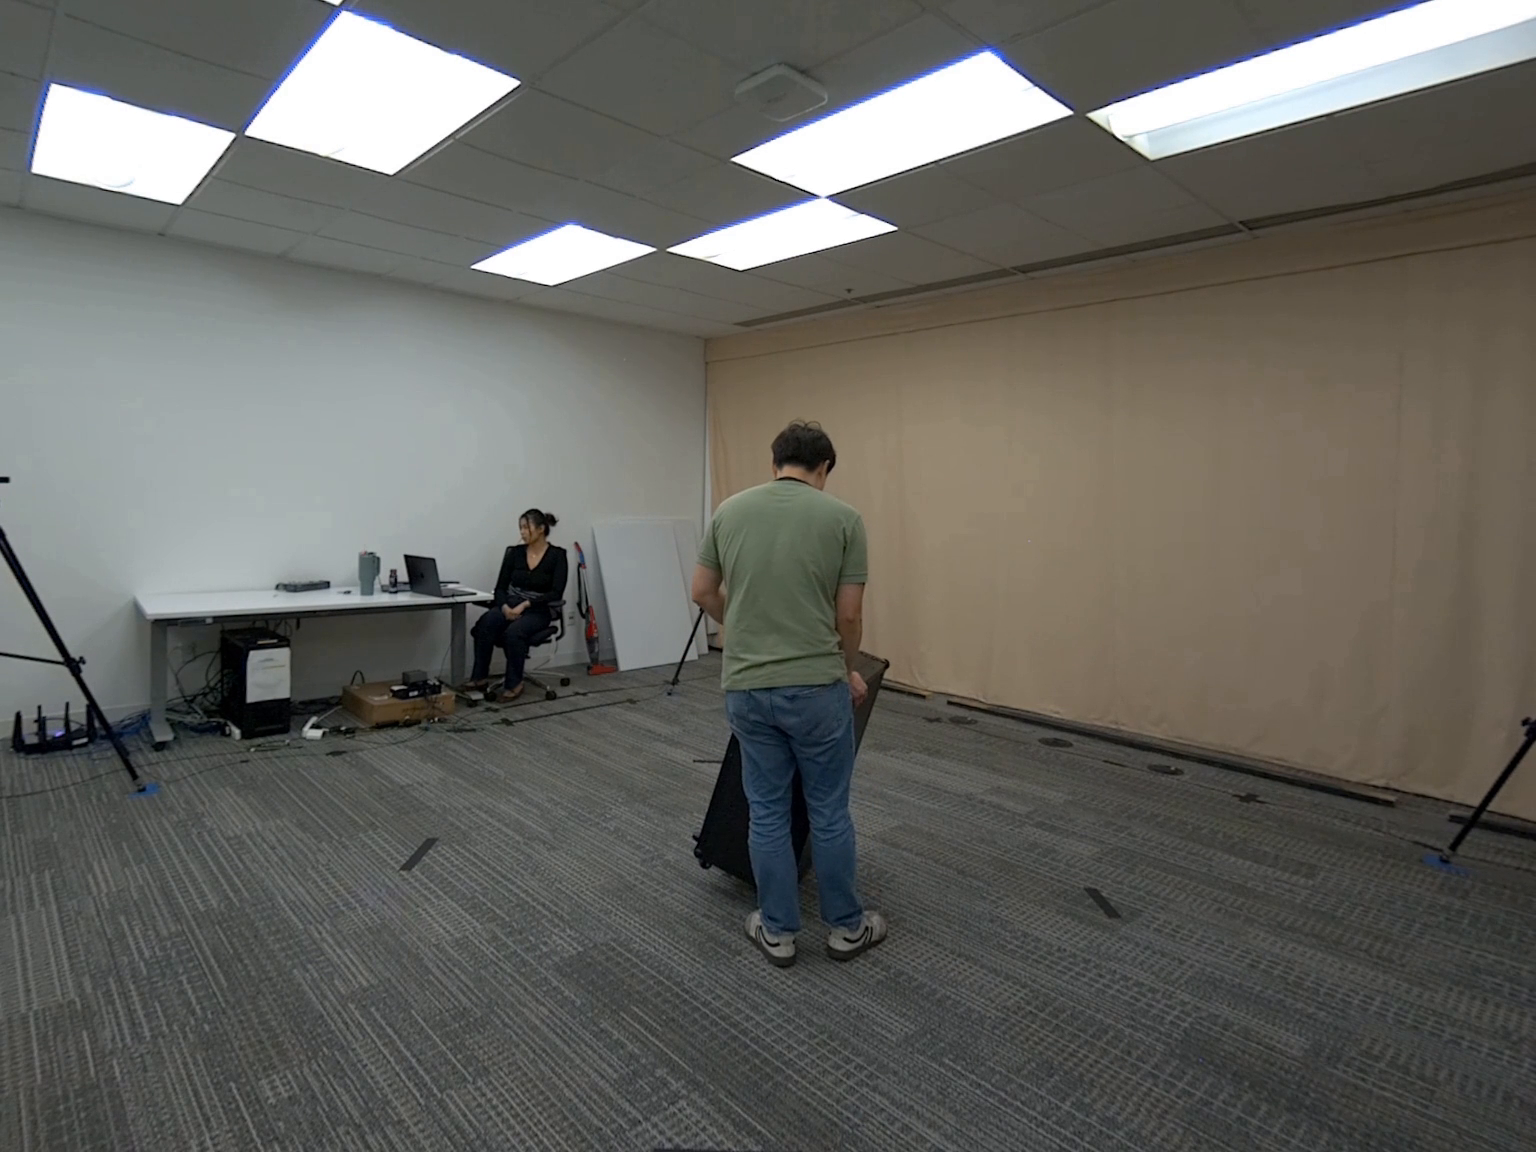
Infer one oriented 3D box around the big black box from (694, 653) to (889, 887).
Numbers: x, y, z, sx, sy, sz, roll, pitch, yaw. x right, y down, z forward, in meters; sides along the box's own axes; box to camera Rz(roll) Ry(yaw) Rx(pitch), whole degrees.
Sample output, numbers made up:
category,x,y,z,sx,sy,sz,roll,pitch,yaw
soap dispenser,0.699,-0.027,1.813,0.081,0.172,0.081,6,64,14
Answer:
category,x,y,z,sx,sy,sz,roll,pitch,yaw
big black box,0.067,0.677,3.006,0.404,0.857,0.514,20,10,19
